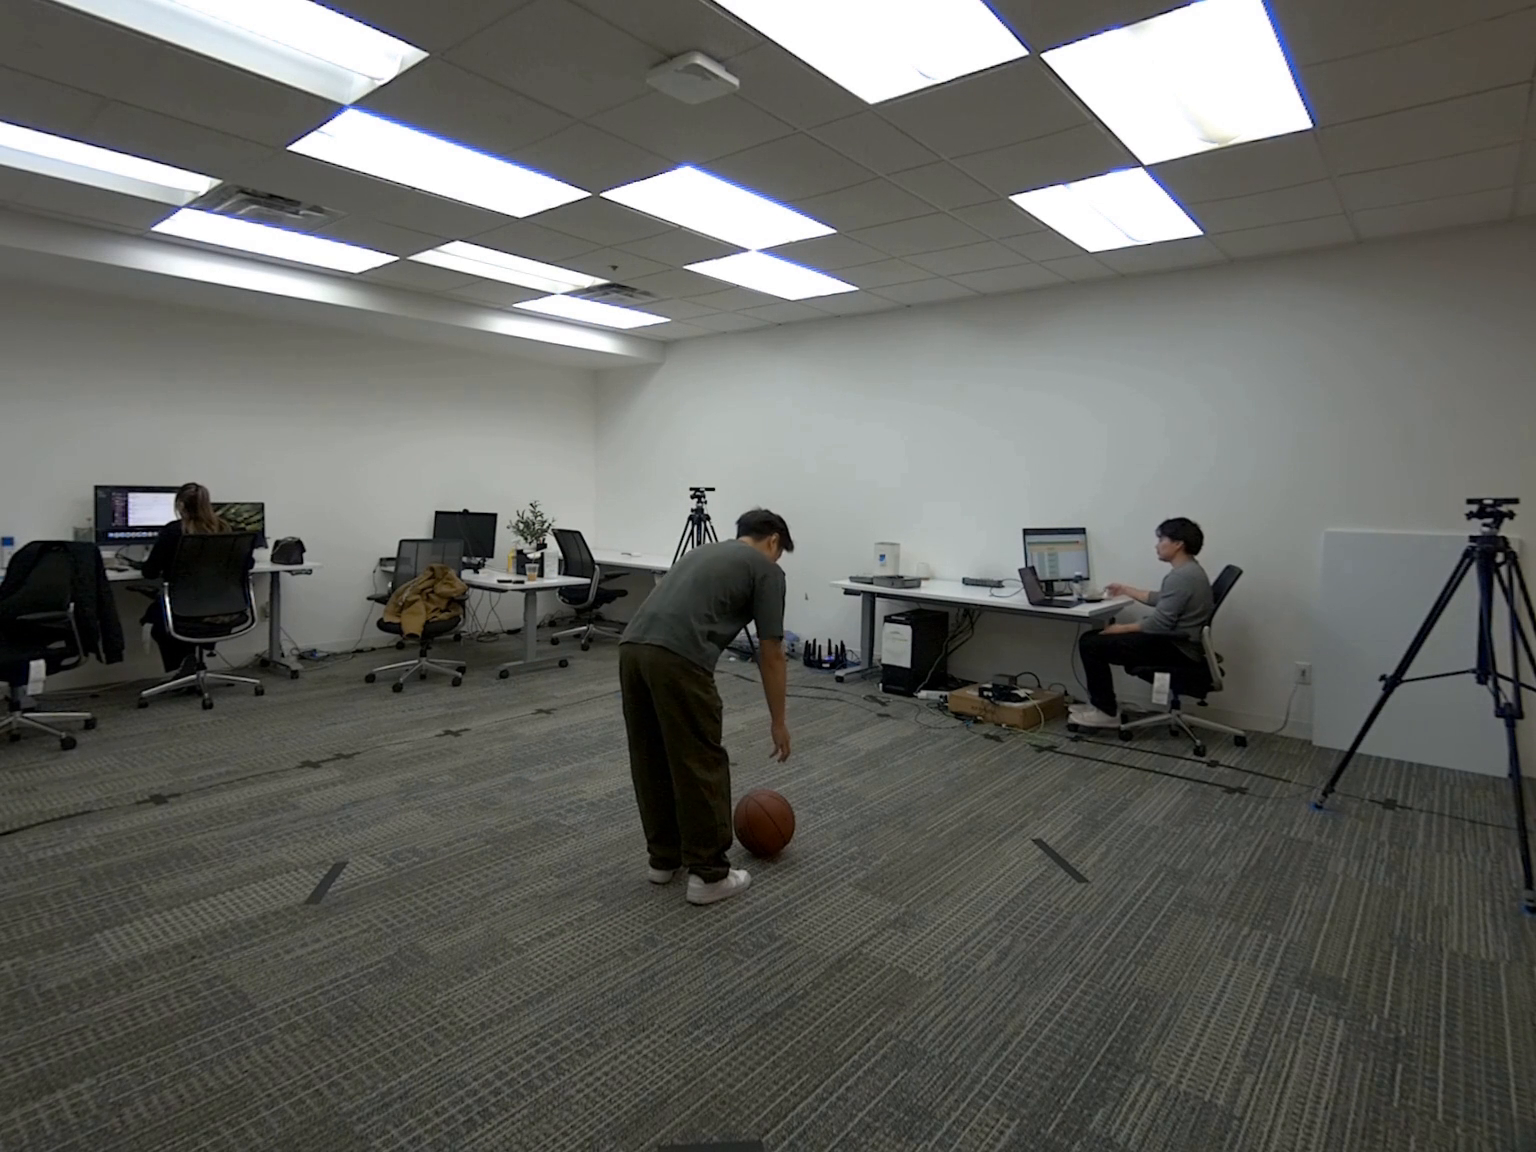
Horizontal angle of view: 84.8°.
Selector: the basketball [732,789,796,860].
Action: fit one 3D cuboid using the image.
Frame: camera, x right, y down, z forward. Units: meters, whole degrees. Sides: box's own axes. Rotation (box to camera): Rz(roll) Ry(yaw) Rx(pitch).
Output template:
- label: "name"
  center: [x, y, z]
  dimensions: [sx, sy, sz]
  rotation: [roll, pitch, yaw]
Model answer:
- label: "basketball"
  center: [-0.024, 0.930, 3.251]
  dimensions: [0.235, 0.235, 0.237]
  rotation: [1, 4, -2]
